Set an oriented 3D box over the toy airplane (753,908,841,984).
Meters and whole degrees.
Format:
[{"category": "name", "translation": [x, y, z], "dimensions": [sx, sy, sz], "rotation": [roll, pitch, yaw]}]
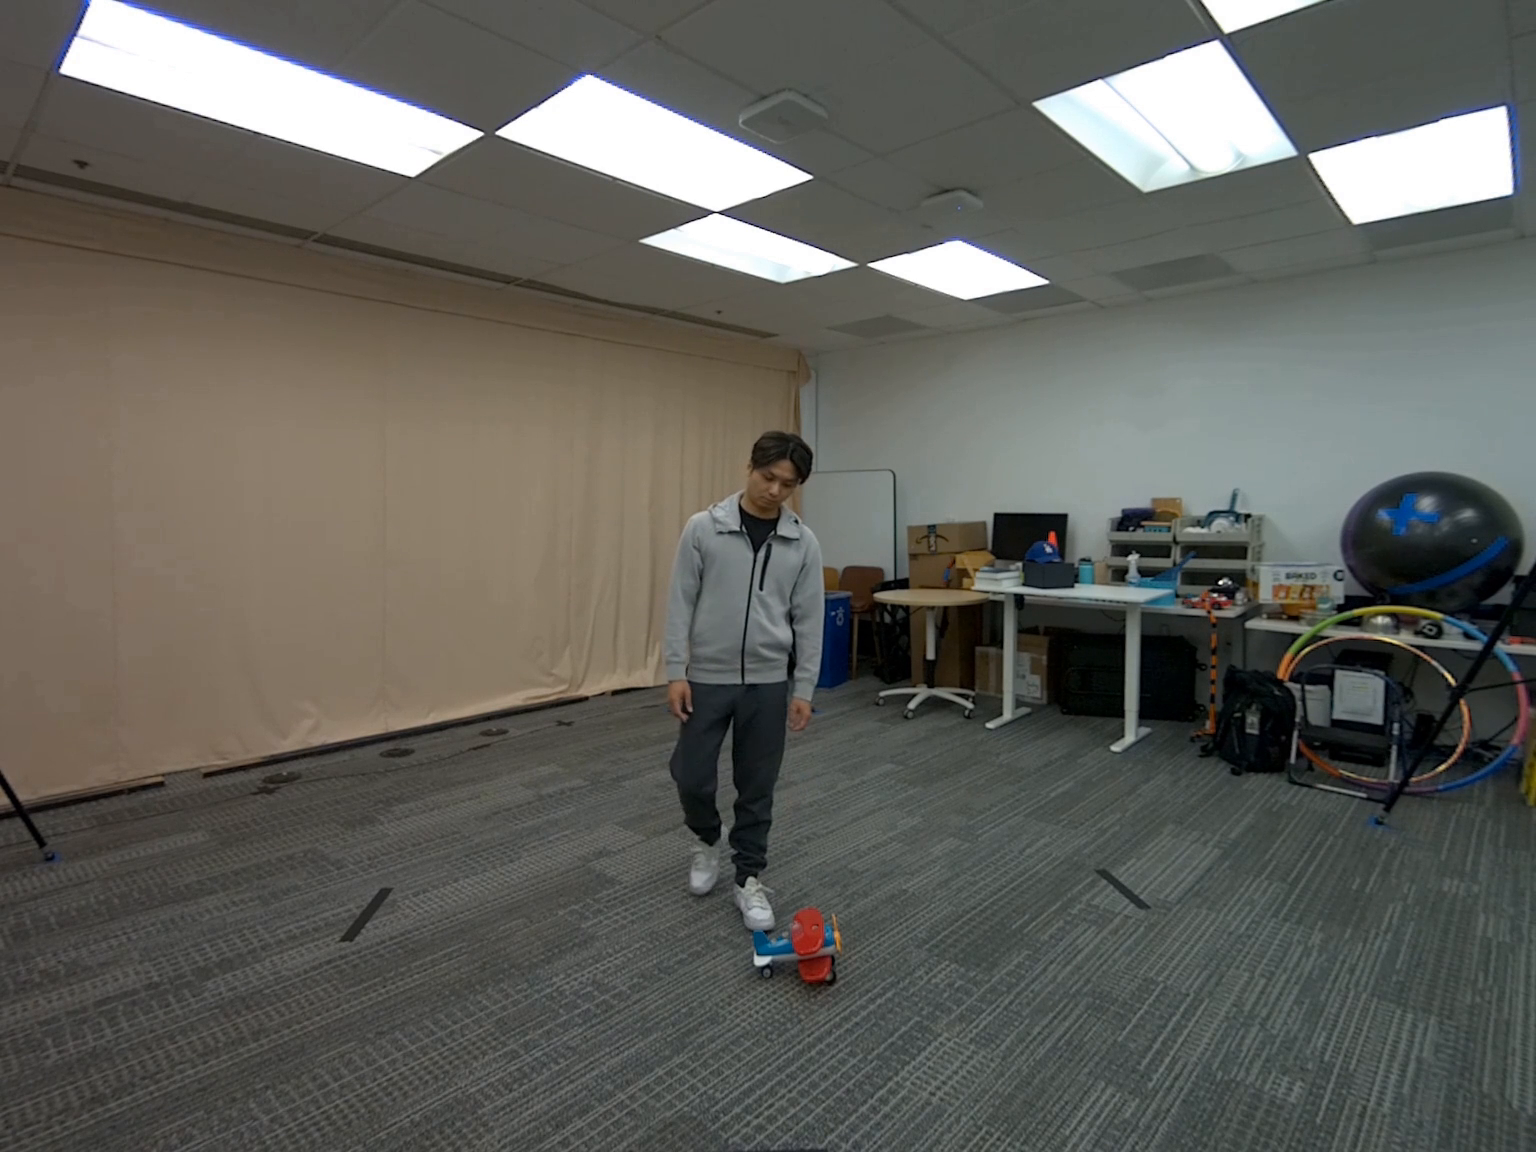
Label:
[{"category": "toy airplane", "translation": [0.098, 1.115, 2.474], "dimensions": [0.253, 0.156, 0.258], "rotation": [-1, 4, -27]}]
